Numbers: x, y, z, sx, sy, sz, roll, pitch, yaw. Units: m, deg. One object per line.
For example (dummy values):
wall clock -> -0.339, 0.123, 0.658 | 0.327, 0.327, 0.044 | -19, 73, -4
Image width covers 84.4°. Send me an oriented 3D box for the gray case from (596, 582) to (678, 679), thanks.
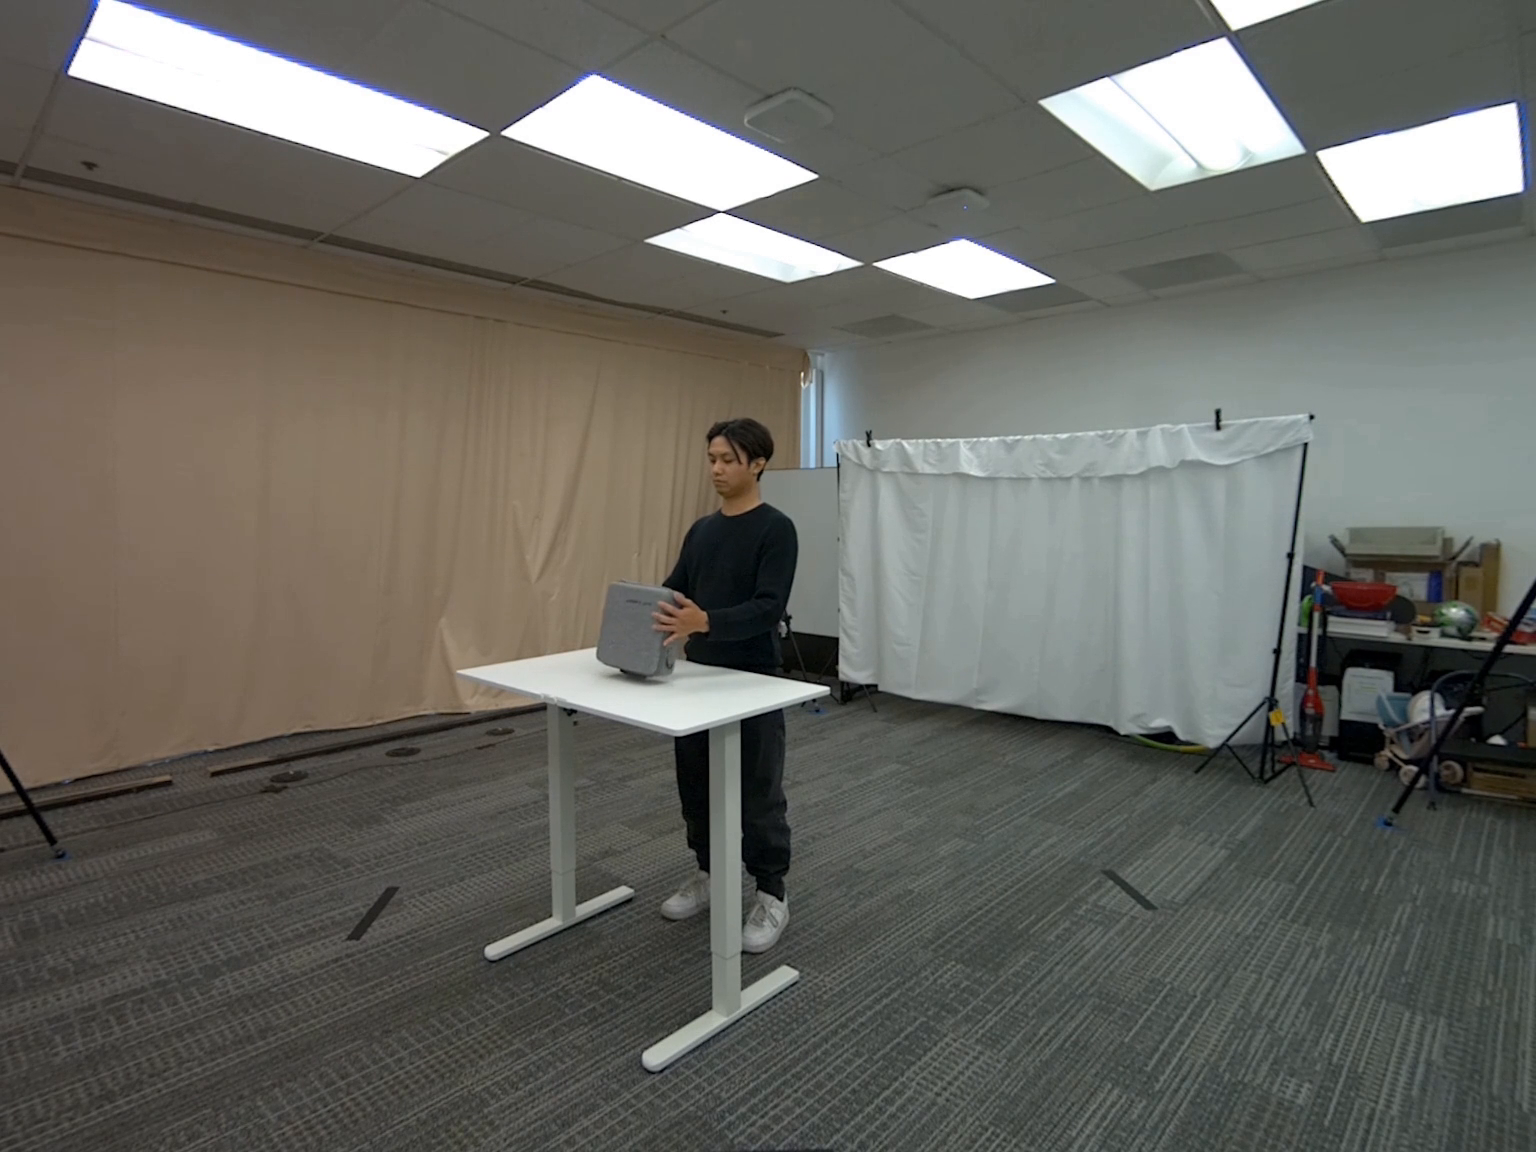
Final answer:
gray case -> -0.372, 0.161, 2.489 | 0.265, 0.261, 0.101 | 7, -3, 38
